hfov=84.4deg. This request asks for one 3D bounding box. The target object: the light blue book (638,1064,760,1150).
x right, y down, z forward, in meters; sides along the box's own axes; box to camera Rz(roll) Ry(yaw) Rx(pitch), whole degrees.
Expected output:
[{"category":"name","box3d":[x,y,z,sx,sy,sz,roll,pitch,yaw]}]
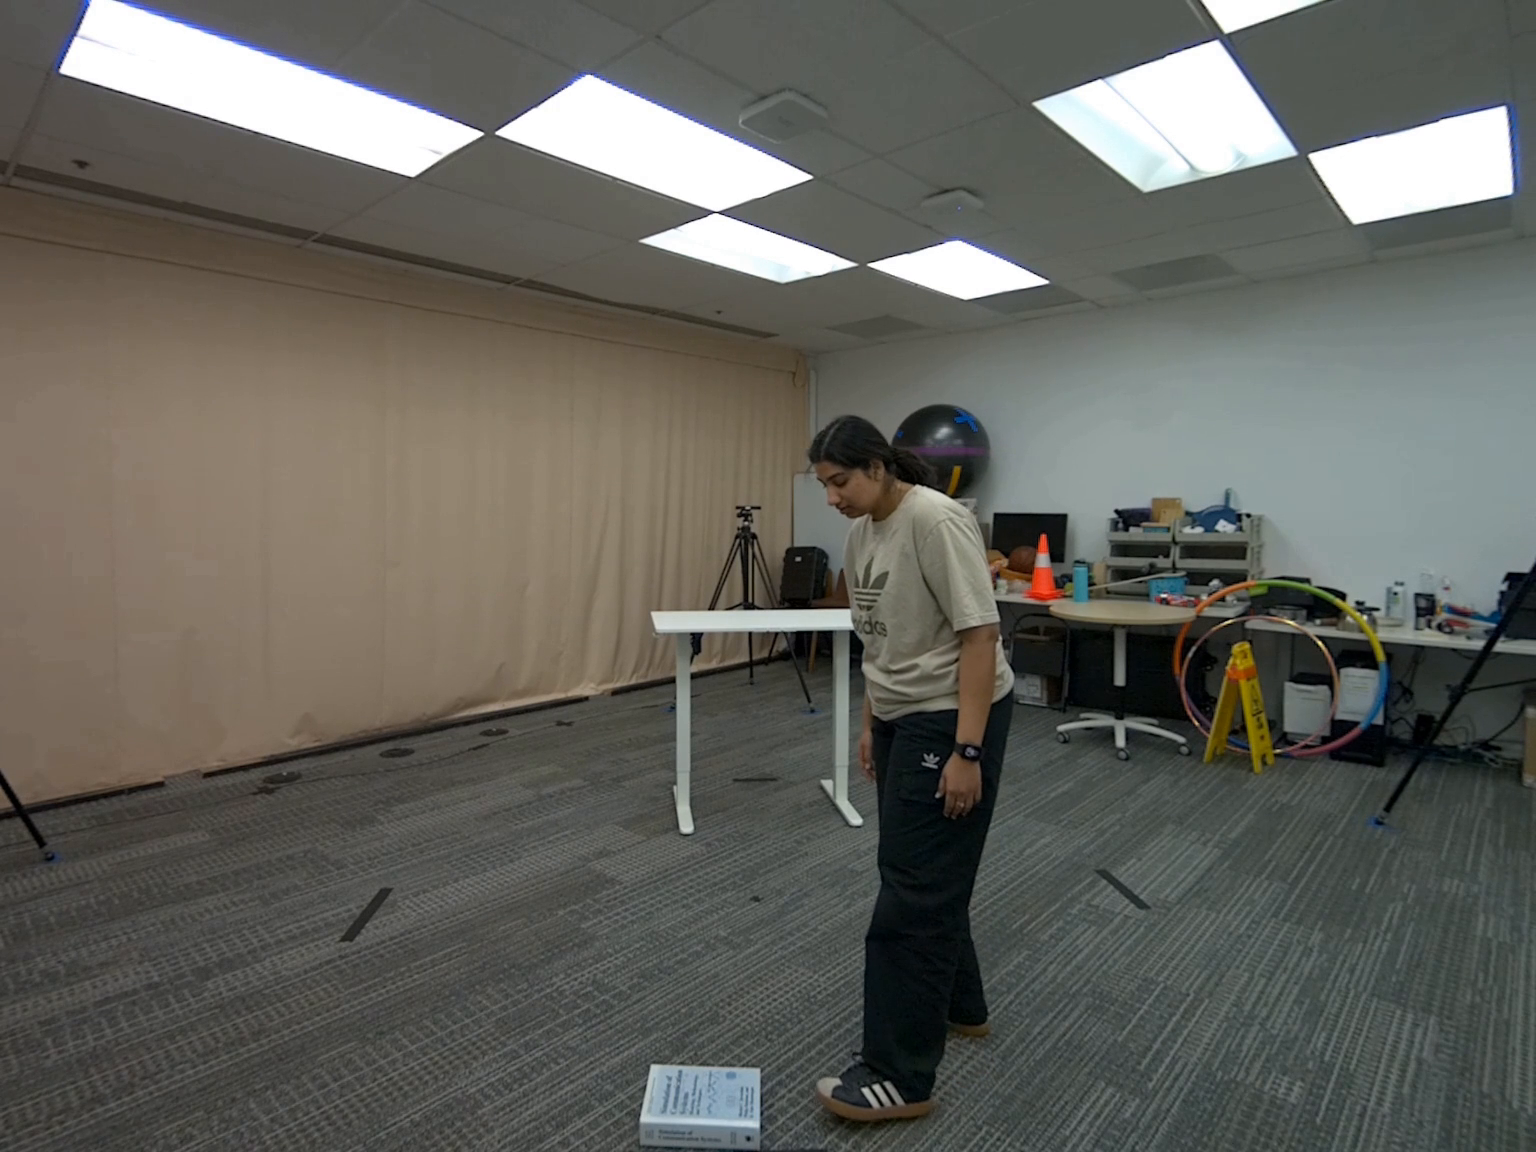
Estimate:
[{"category":"light blue book","box3d":[-0.147,1.203,1.923,0.262,0.059,0.191,0,4,2]}]
